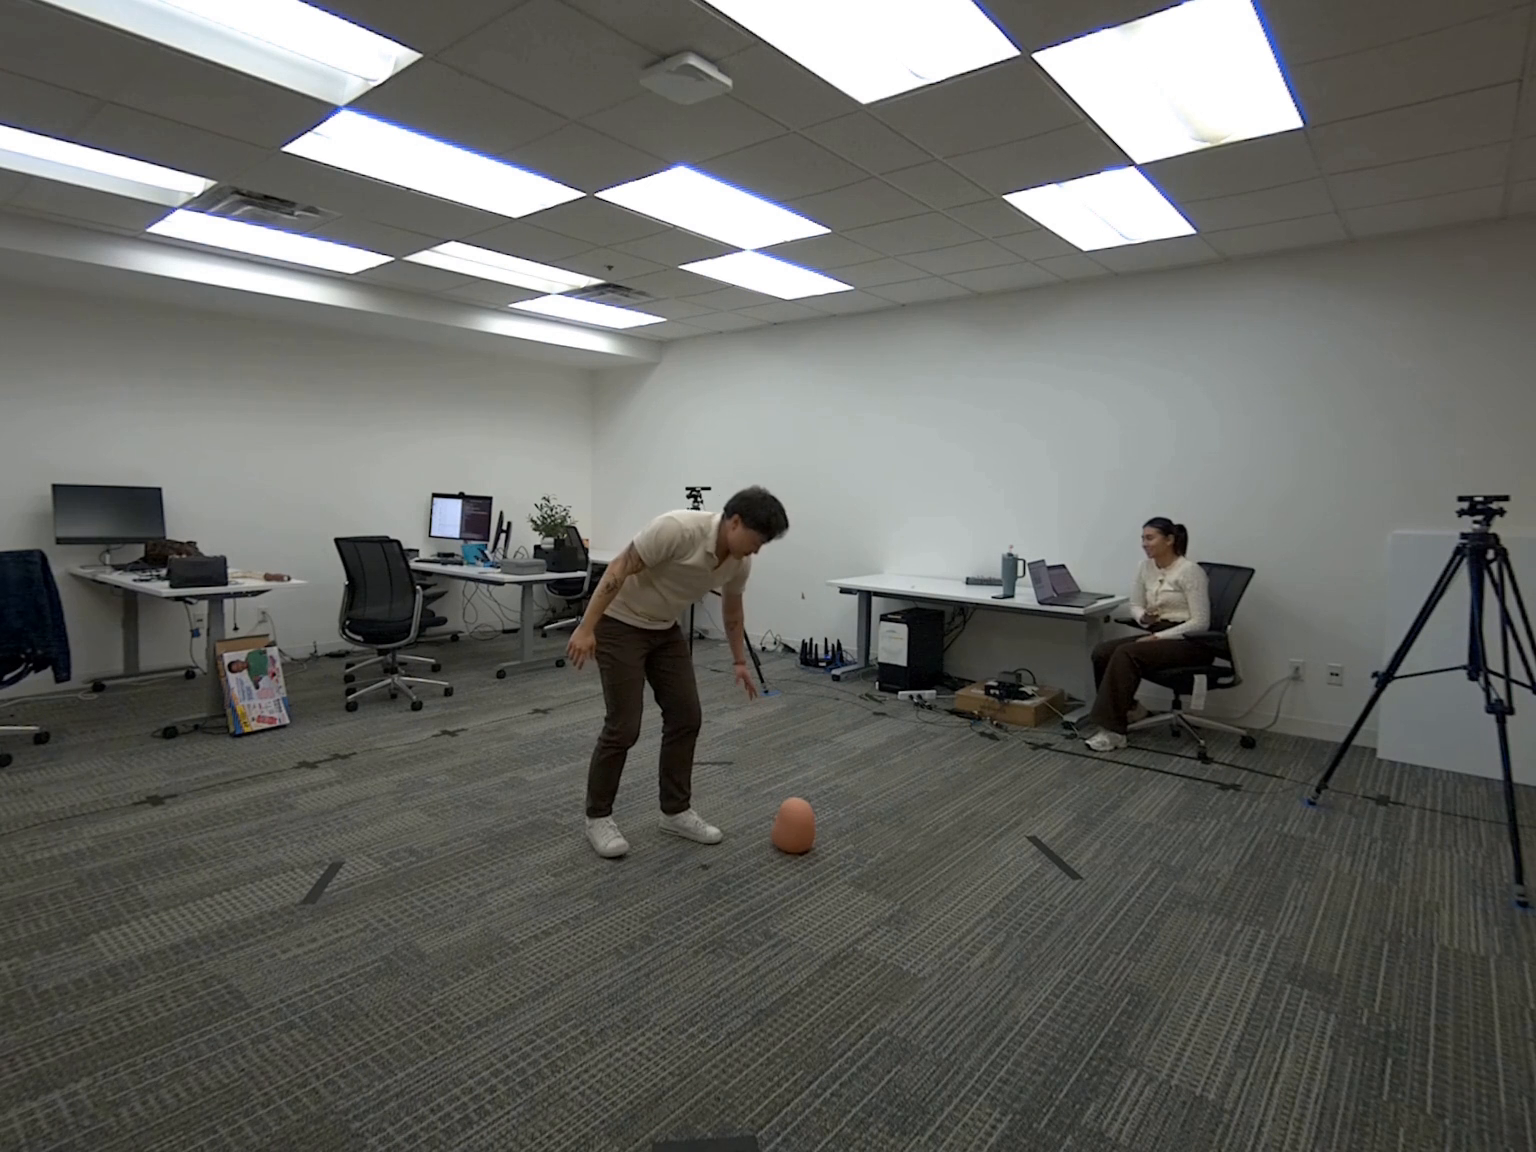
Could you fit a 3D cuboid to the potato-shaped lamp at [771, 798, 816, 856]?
[{"bbox_3d":[0.095,0.952,3.292,0.161,0.197,0.176,0,8,-21],"label":"potato-shaped lamp"}]
